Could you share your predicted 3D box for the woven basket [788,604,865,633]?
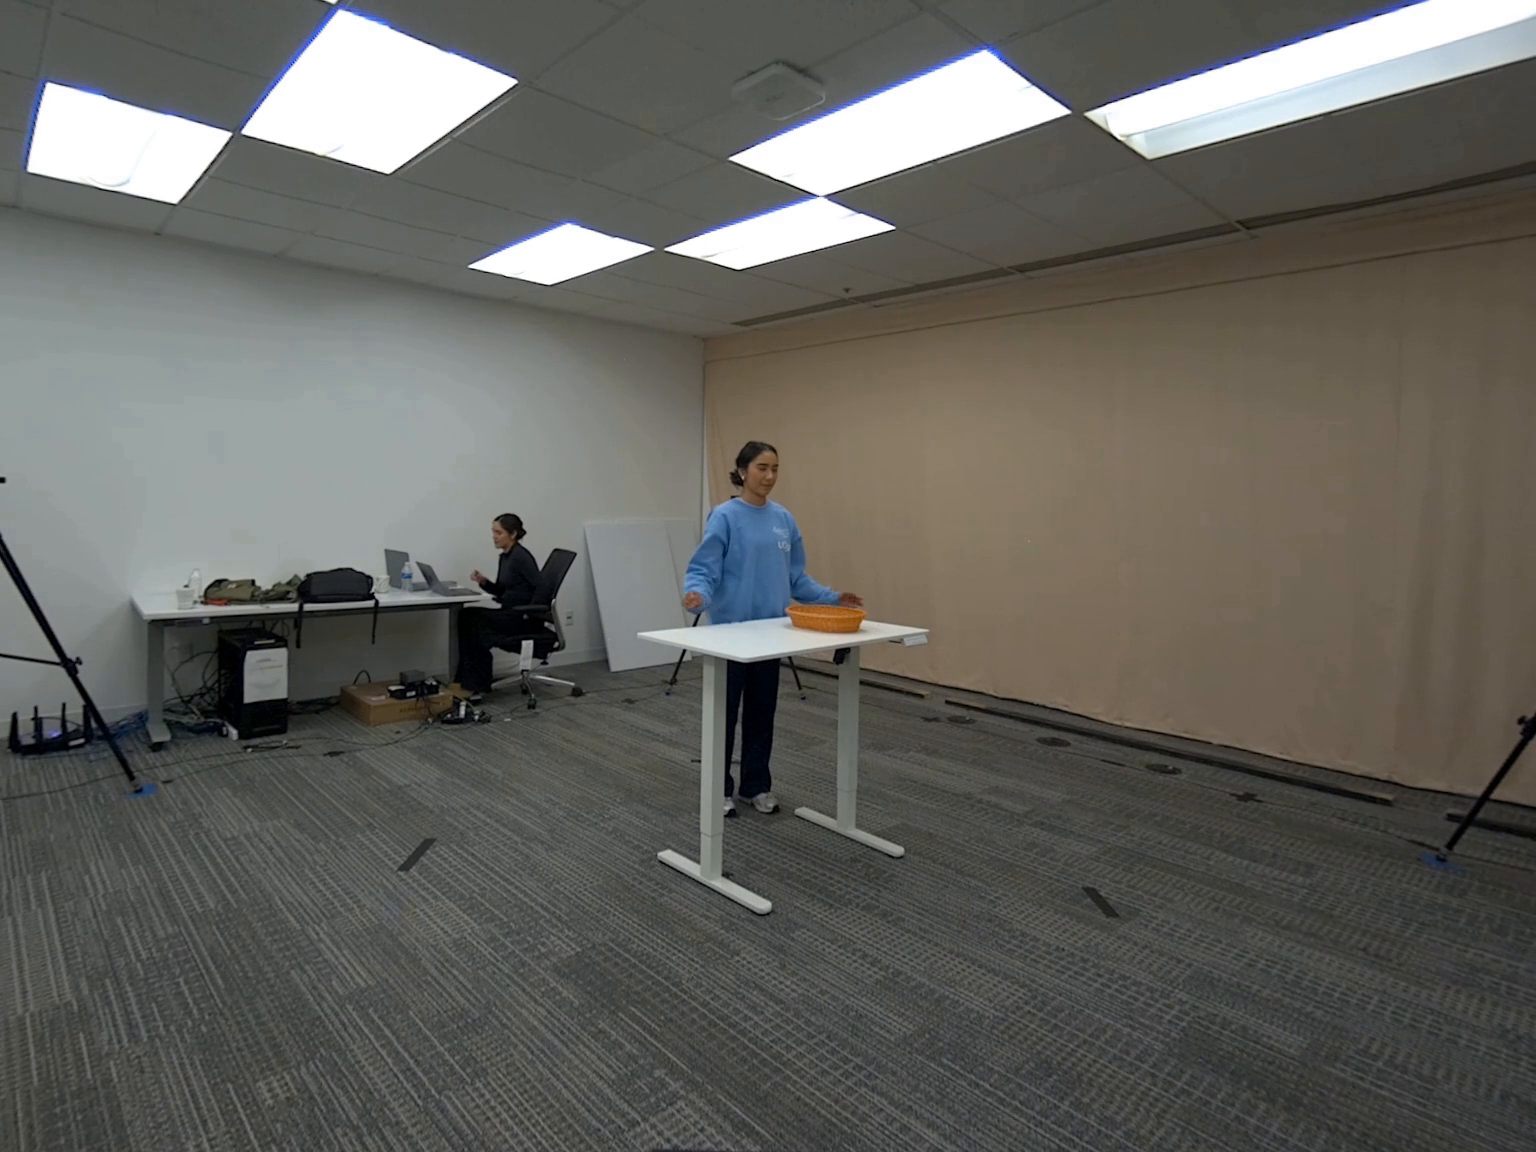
[{"bbox_3d":[0.228,0.174,3.343,0.247,0.073,0.359,-6,9,-42],"label":"woven basket"}]
